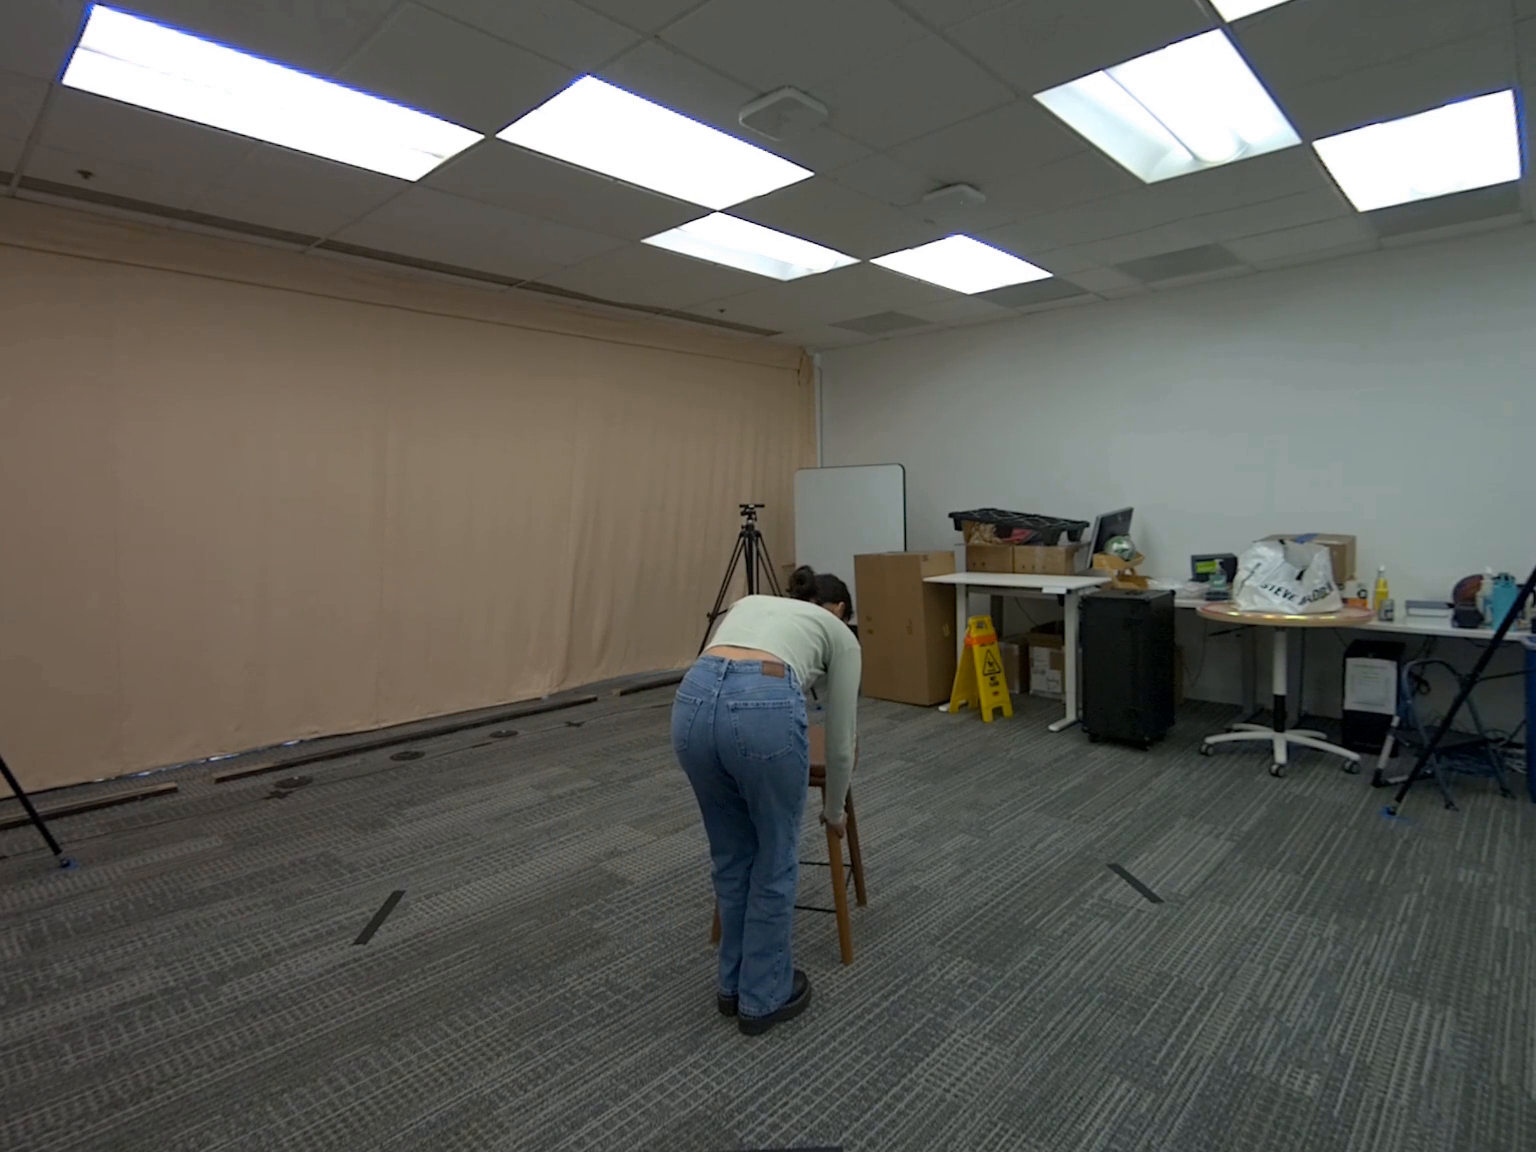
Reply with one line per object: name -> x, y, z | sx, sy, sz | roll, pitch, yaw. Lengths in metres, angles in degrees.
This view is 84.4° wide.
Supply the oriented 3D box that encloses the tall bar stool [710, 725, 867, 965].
tall bar stool -> 0.077, 0.725, 2.773 | 0.476, 0.888, 0.449 | -1, 3, 16
